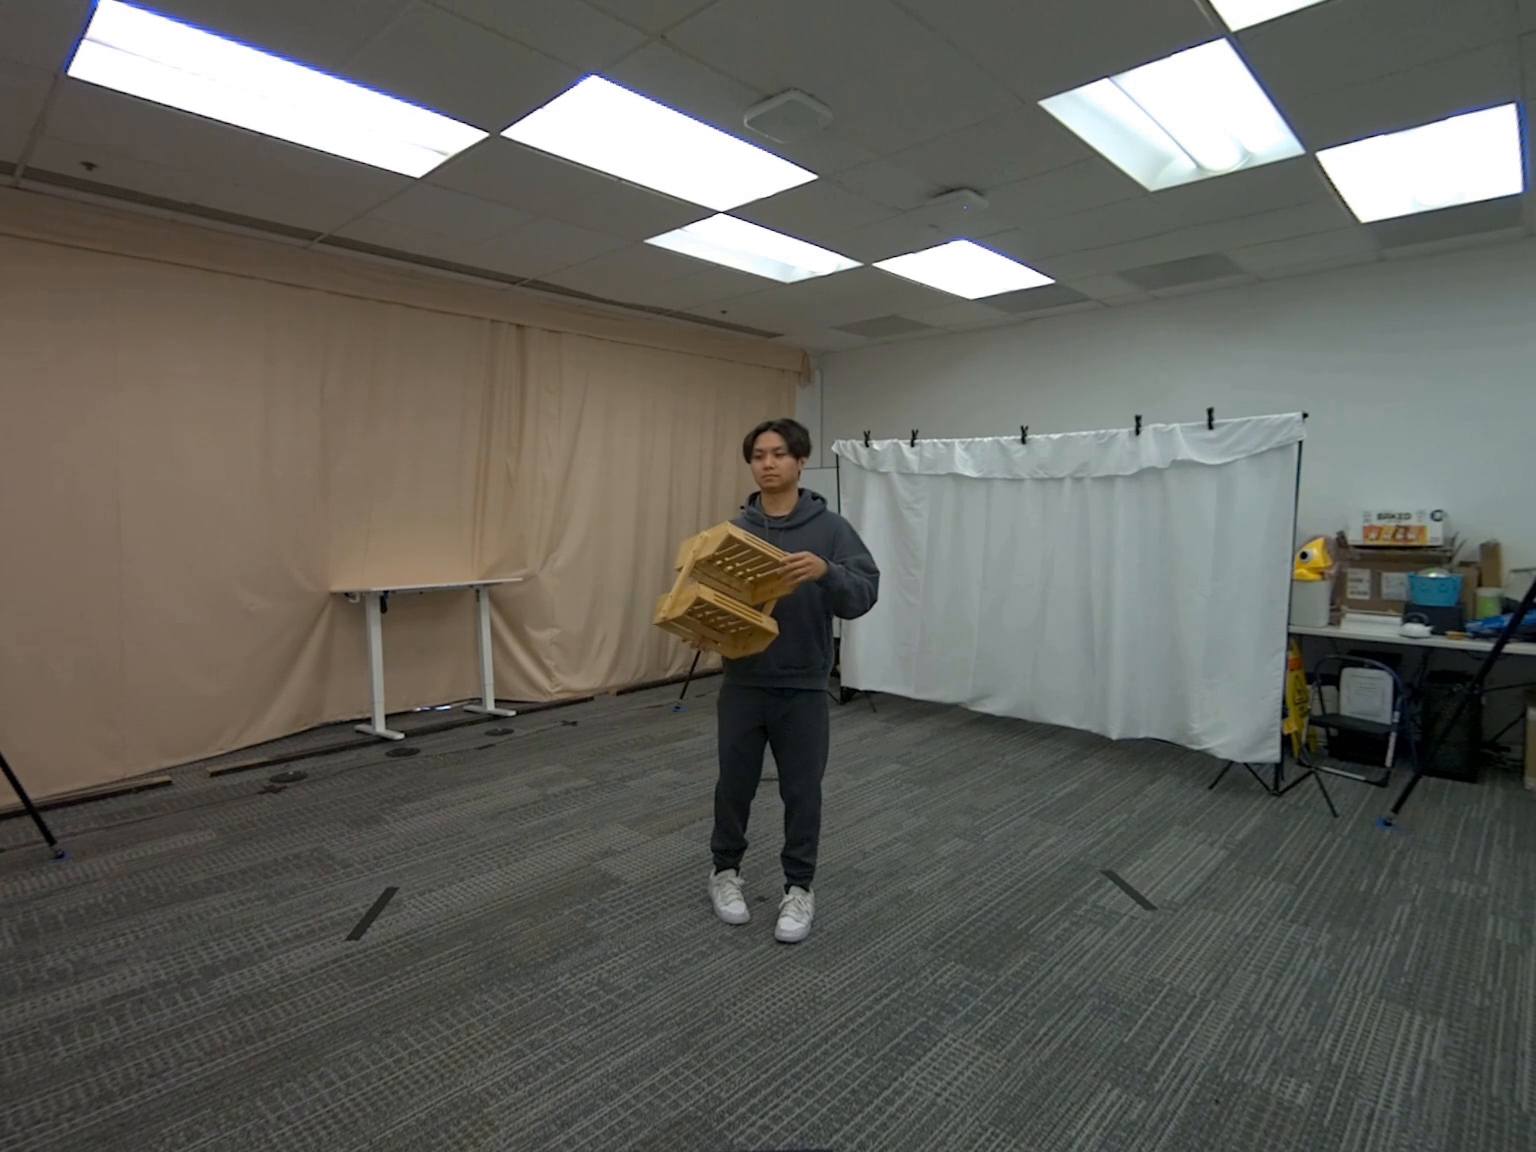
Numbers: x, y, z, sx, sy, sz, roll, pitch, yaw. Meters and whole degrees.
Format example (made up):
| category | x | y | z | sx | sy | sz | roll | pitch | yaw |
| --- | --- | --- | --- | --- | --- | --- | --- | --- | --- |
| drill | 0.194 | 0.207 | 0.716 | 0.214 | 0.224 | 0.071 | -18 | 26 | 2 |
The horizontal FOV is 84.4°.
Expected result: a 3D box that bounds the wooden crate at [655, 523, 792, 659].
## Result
| category | x | y | z | sx | sy | sz | roll | pitch | yaw |
| --- | --- | --- | --- | --- | --- | --- | --- | --- | --- |
| wooden crate | -0.120 | 0.055 | 2.478 | 0.314 | 0.276 | 0.309 | 28 | -31 | -30 |
